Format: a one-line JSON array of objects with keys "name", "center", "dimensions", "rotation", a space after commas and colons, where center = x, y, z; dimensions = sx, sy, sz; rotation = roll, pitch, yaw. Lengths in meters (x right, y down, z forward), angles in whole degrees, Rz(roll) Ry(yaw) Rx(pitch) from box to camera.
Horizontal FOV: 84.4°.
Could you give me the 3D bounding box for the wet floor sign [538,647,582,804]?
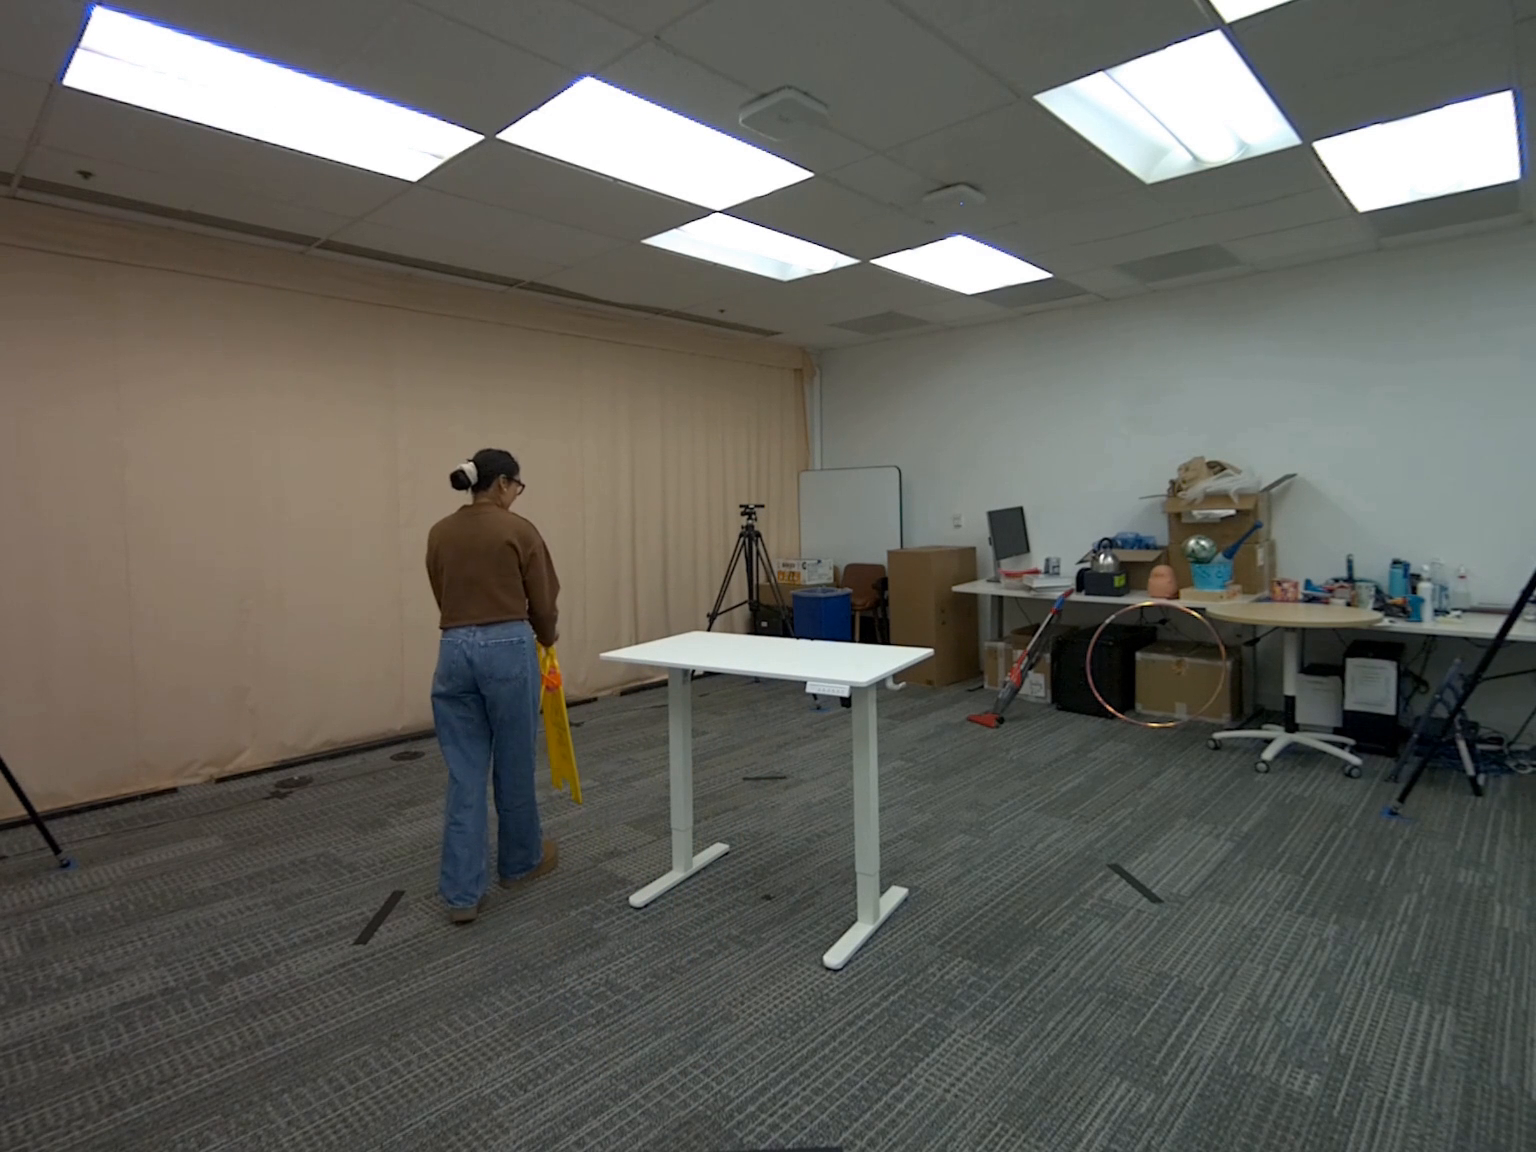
[{"name": "wet floor sign", "center": [-0.916, 0.577, 3.371], "dimensions": [0.281, 0.646, 0.291], "rotation": [2, 0, -34]}]
